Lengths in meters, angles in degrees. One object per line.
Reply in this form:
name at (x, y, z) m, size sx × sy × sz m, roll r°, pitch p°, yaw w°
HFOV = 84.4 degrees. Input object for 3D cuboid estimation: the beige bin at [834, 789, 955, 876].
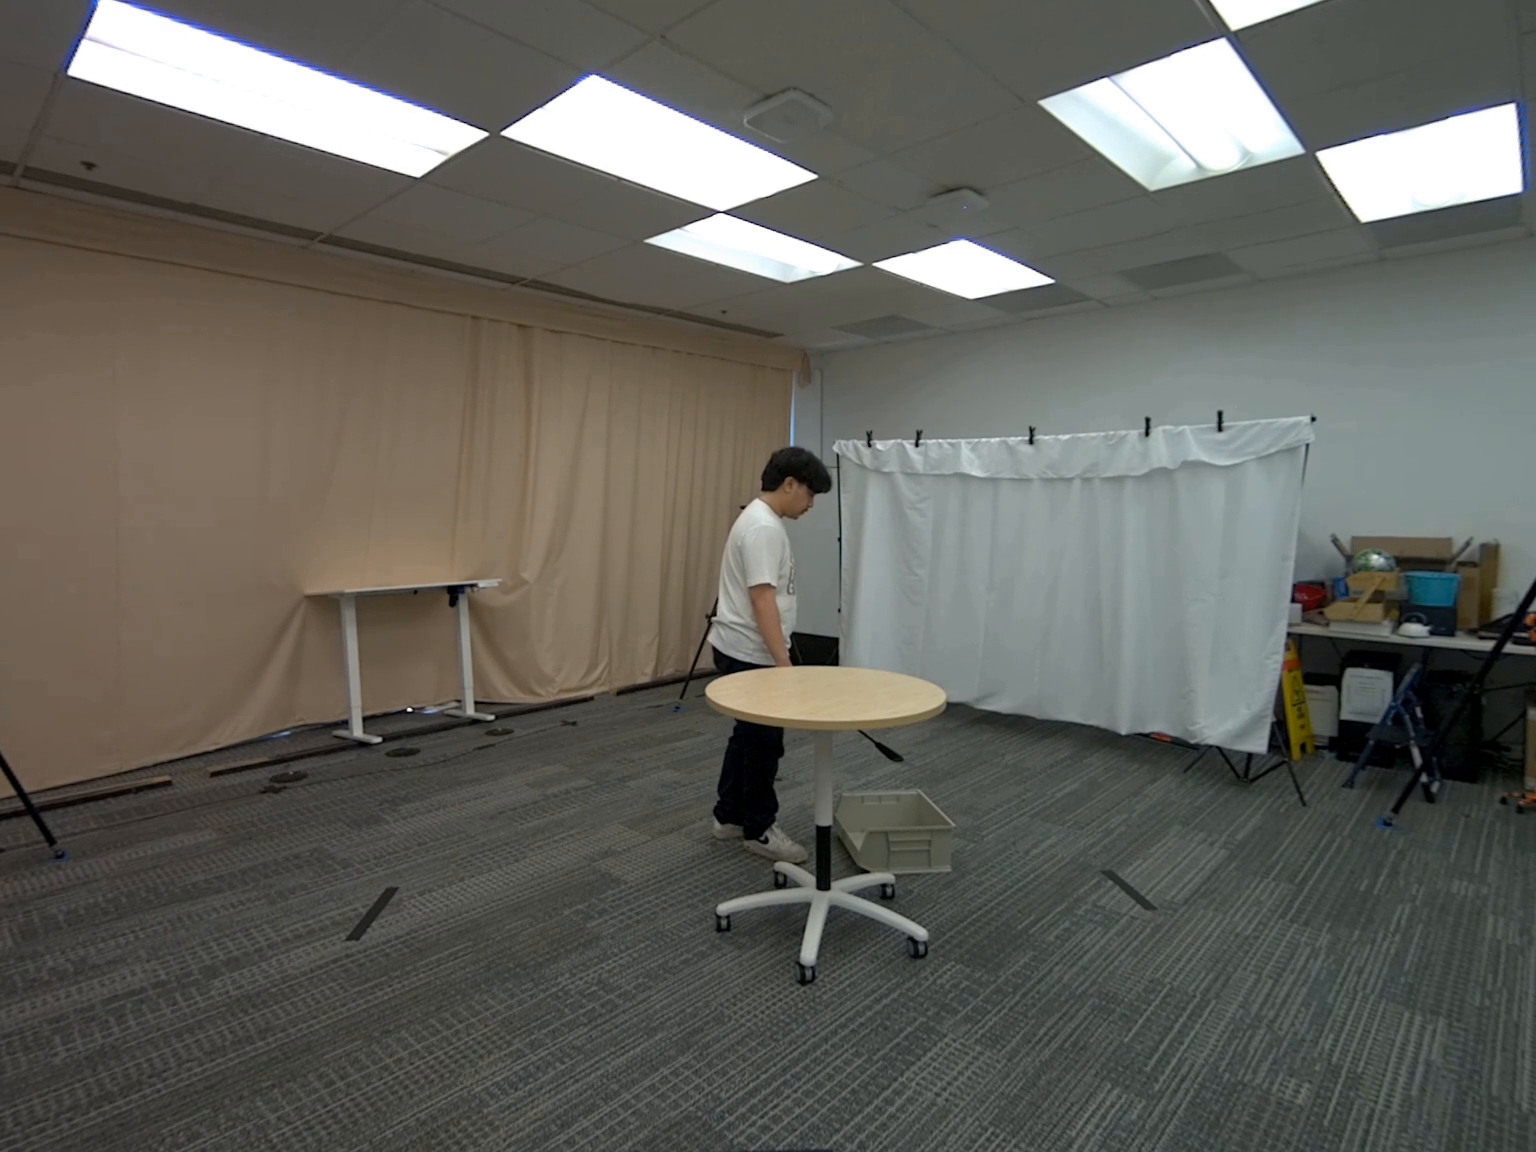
beige bin at (0.502, 1.025, 3.382) m, size 0.374 × 0.188 × 0.426 m, roll 0°, pitch 4°, yaw -8°
